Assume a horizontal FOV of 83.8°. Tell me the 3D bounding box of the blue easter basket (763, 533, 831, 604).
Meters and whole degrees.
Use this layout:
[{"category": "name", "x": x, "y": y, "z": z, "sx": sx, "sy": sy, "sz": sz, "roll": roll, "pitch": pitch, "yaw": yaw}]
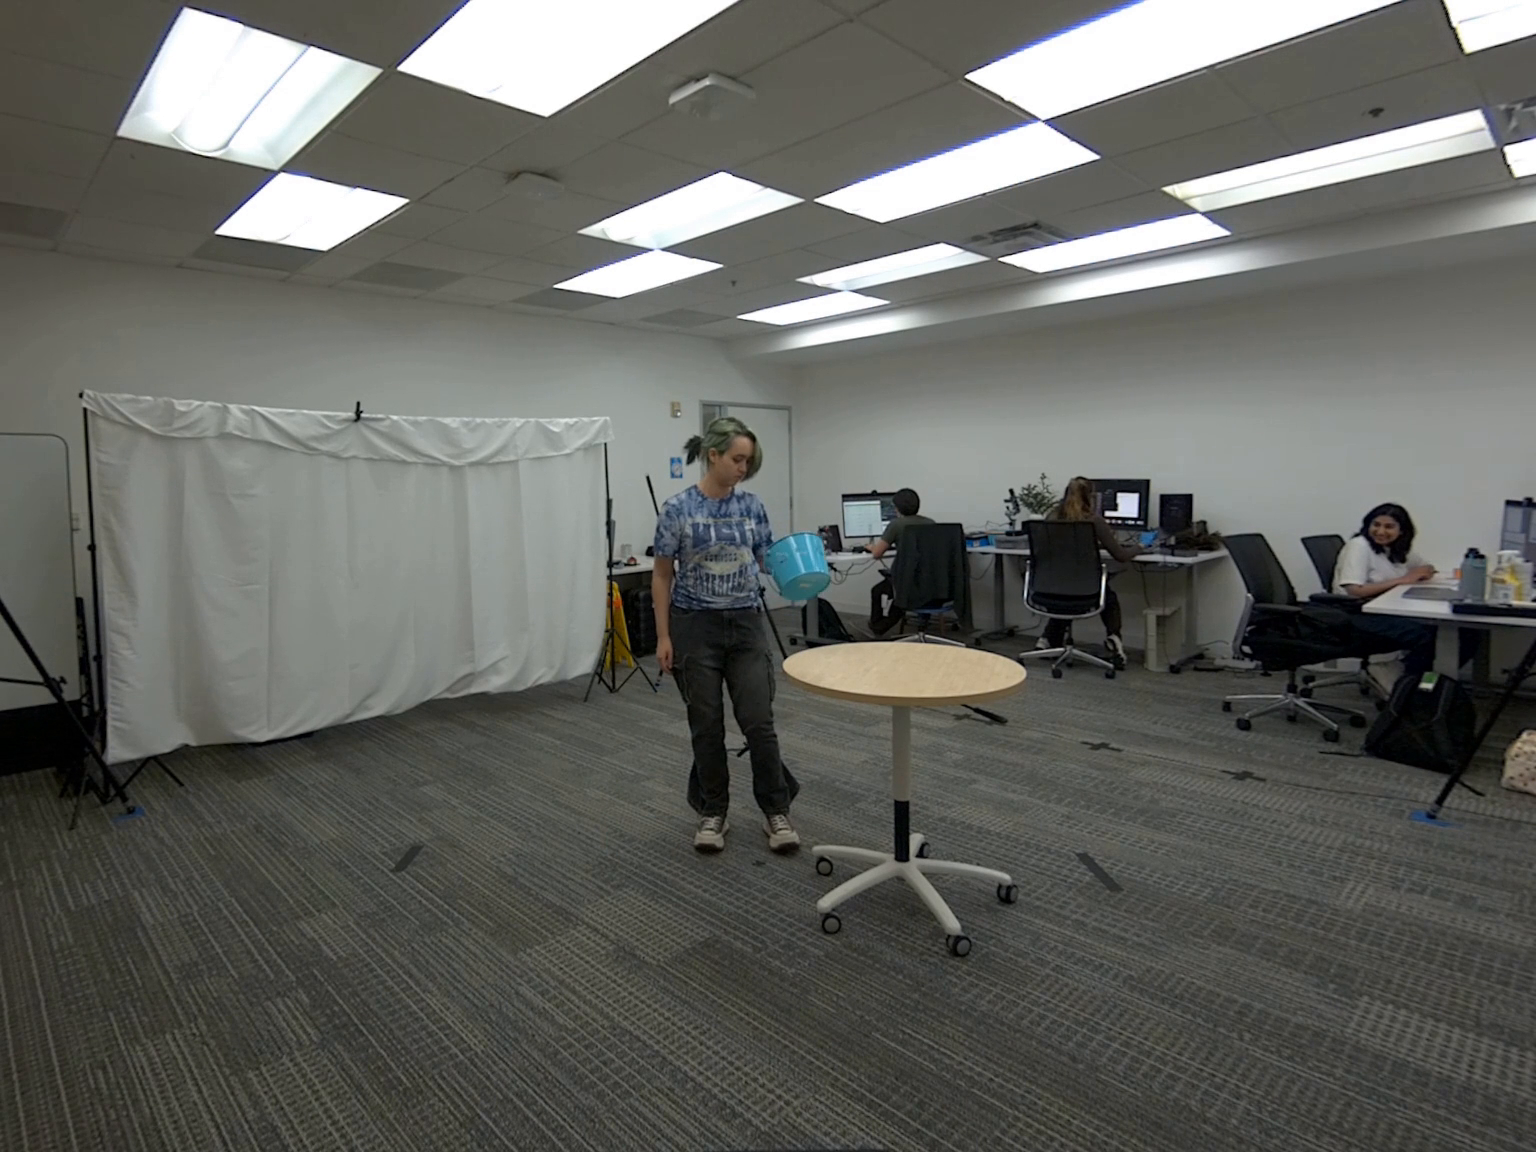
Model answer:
[{"category": "blue easter basket", "x": 0.111, "y": -0.022, "z": 3.038, "sx": 0.242, "sy": 0.161, "sz": 0.237, "roll": -12, "pitch": -33, "yaw": -10}]
